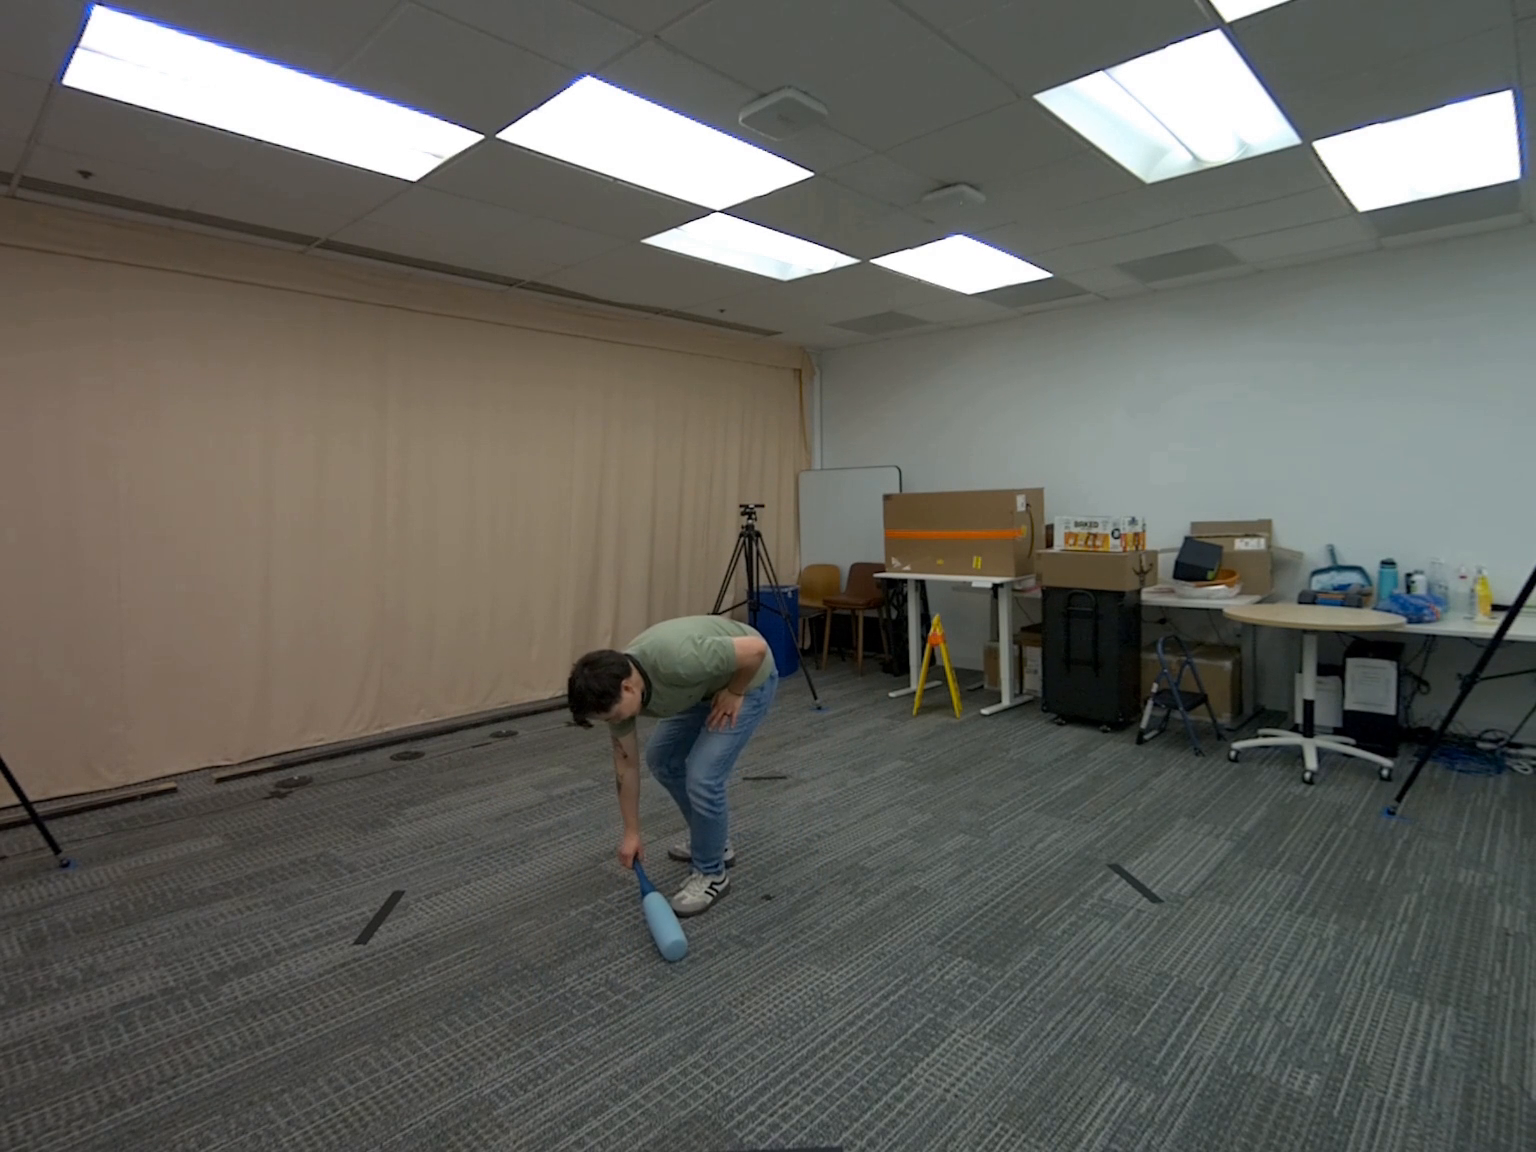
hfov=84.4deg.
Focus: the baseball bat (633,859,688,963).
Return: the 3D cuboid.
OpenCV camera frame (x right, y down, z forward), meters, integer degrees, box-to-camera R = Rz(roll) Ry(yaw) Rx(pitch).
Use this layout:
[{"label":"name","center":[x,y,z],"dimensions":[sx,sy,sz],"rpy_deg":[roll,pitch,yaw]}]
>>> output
[{"label":"baseball bat","center":[-0.382,1.069,2.804],"dimensions":[0.087,0.088,0.558],"rpy_deg":[-3,15,-22]}]
